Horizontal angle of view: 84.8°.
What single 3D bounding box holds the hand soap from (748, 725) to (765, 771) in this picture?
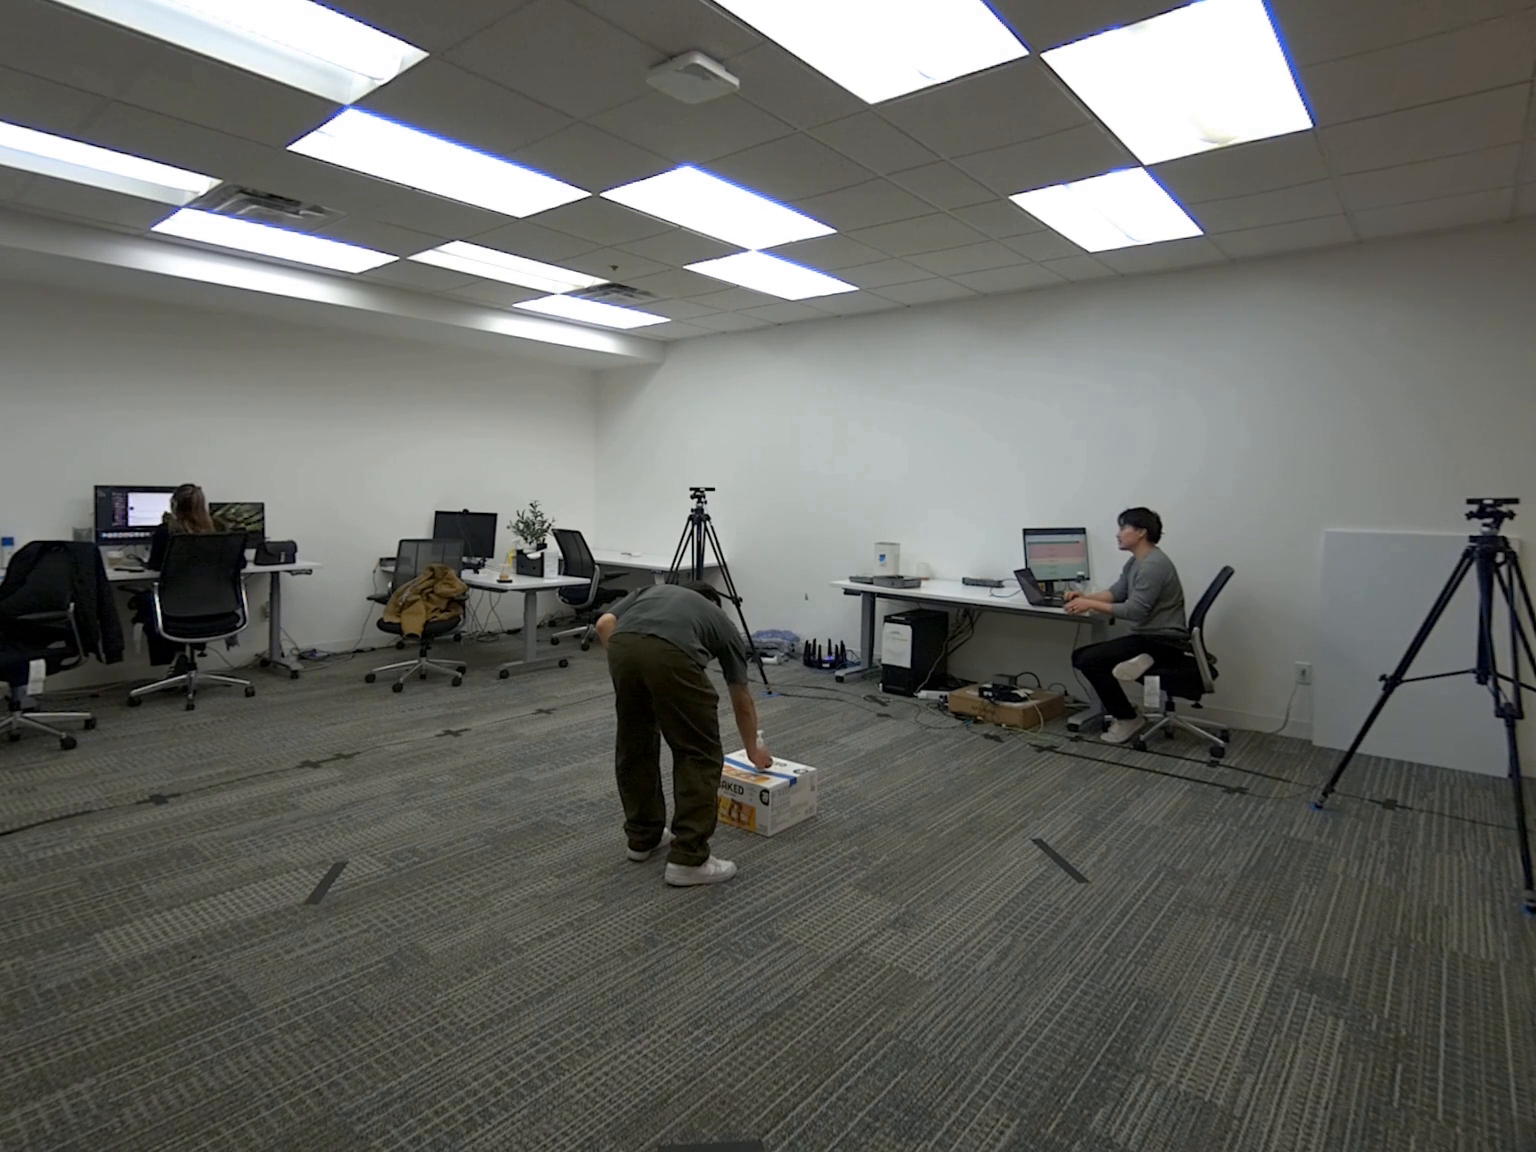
[{"bbox_3d":[-0.052,0.739,3.630,0.043,0.167,0.086,5,5,-9],"label":"hand soap"}]
